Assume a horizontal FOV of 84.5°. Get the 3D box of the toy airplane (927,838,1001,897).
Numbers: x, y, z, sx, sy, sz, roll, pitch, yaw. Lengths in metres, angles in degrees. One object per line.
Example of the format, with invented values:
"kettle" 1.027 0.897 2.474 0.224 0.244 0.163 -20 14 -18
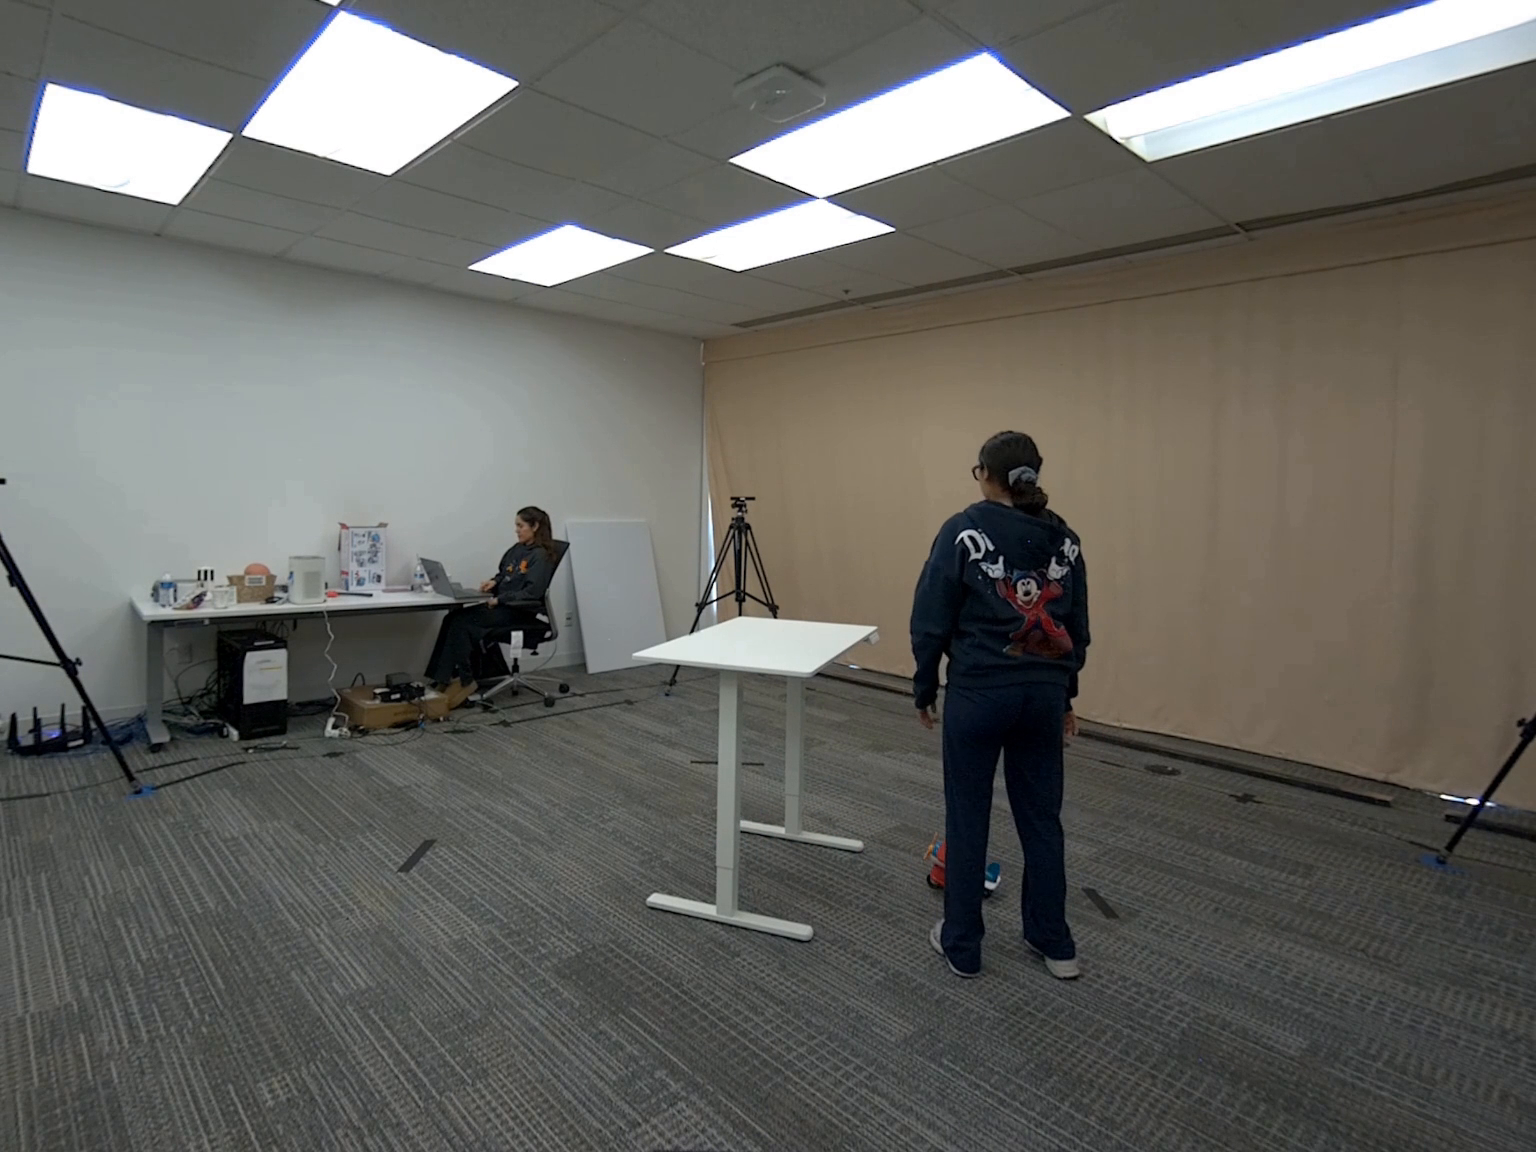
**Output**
"toy airplane" 0.702 1.057 3.083 0.259 0.156 0.252 1 6 -2
